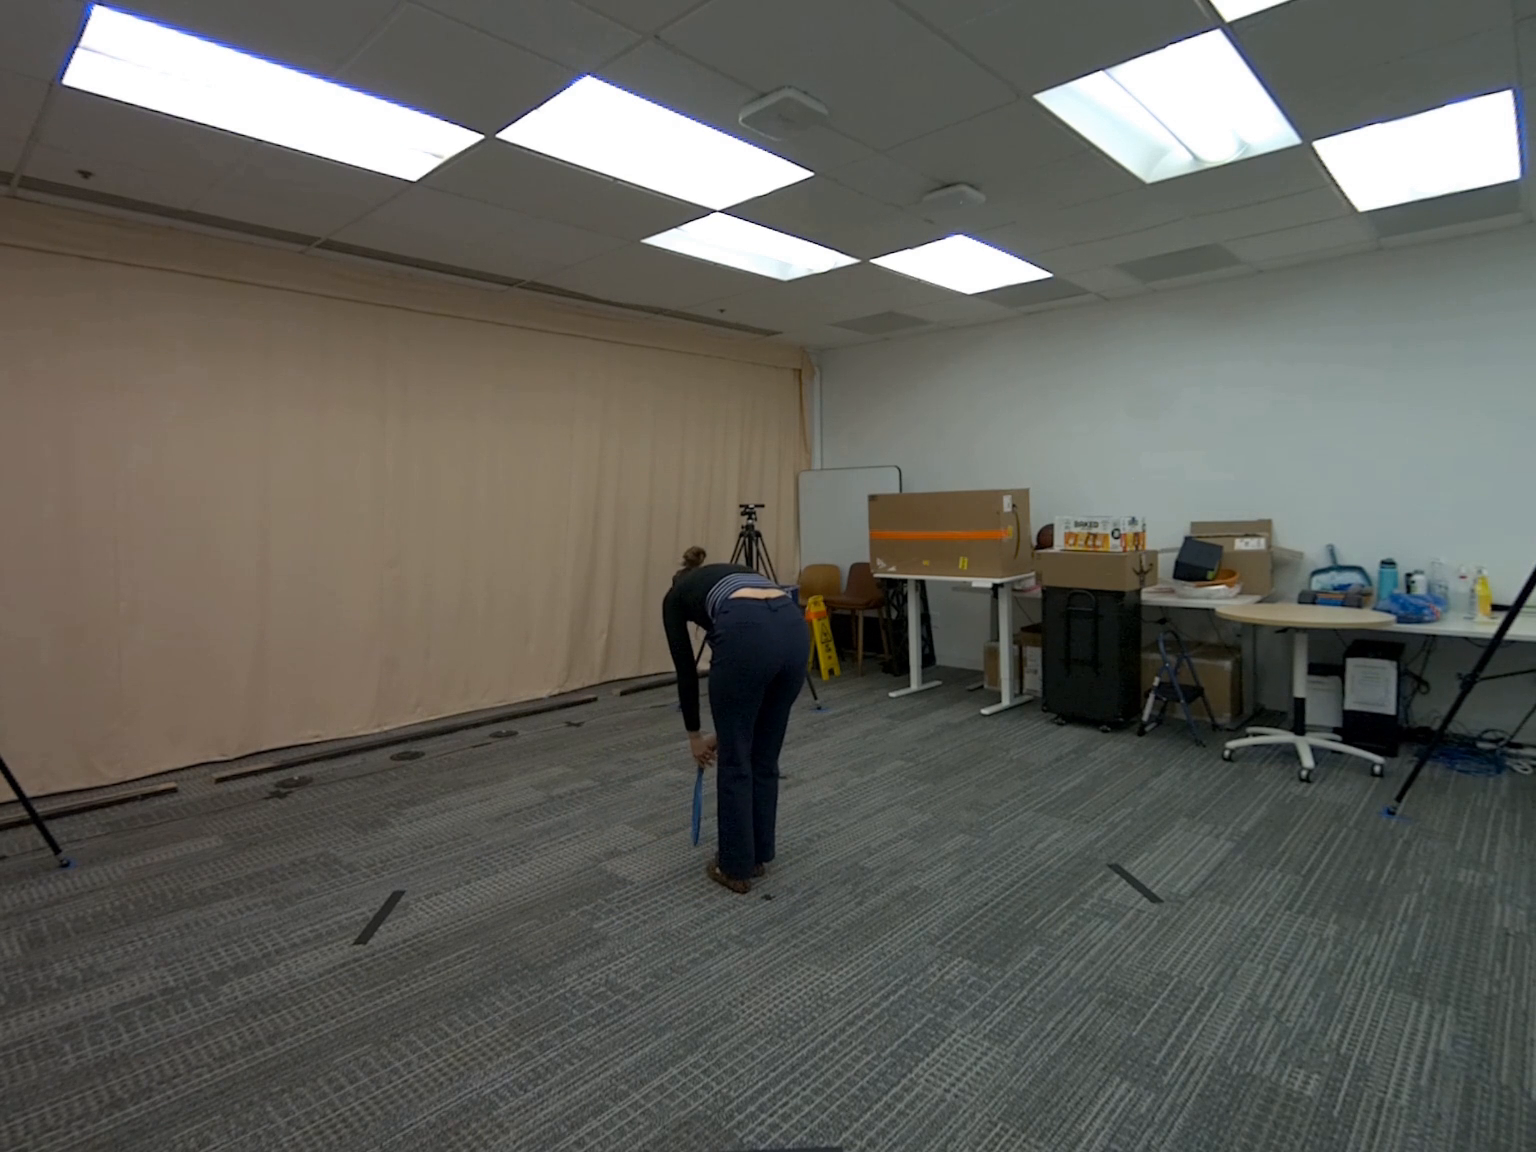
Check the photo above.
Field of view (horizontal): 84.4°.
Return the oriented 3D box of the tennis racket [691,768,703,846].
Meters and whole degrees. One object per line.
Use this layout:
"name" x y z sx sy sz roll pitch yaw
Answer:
"tennis racket" -0.285 0.887 3.454 0.031 0.431 0.216 4 9 -8
